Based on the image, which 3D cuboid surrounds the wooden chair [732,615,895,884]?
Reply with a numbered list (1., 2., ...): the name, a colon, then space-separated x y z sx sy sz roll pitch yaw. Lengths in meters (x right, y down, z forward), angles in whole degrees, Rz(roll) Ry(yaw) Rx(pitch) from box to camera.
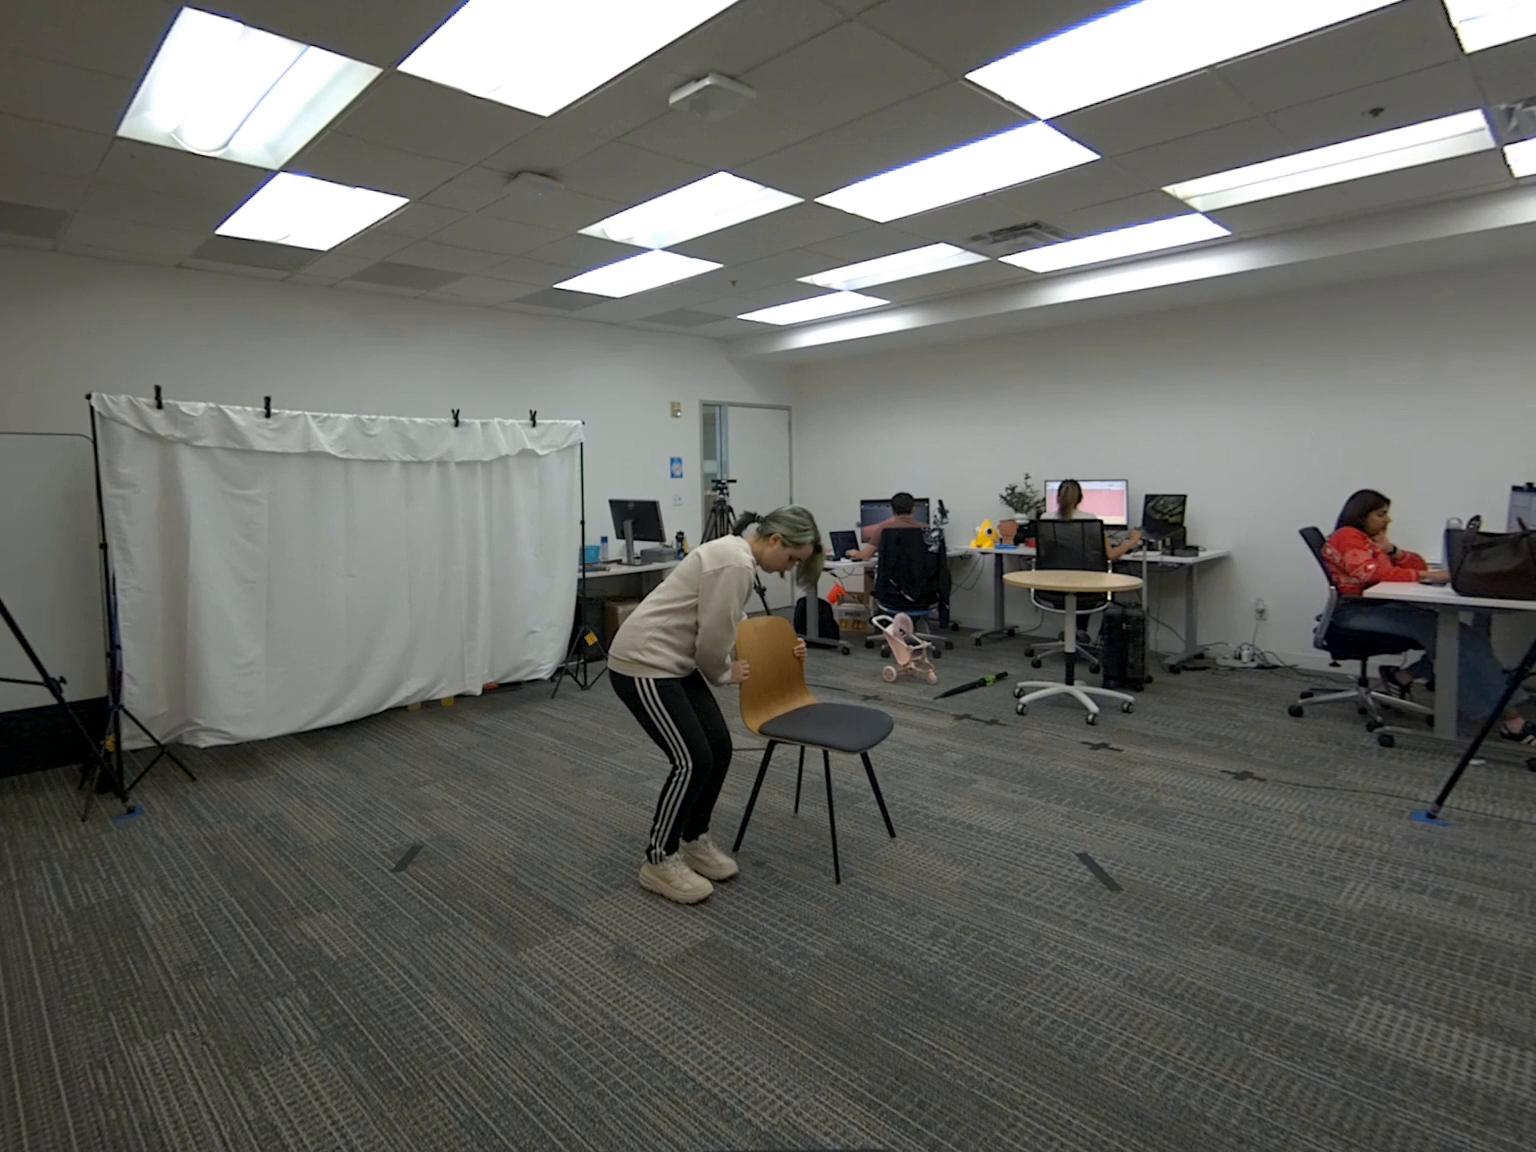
1. wooden chair: 0.182 0.598 3.207 0.537 0.875 0.467 -2 4 36
